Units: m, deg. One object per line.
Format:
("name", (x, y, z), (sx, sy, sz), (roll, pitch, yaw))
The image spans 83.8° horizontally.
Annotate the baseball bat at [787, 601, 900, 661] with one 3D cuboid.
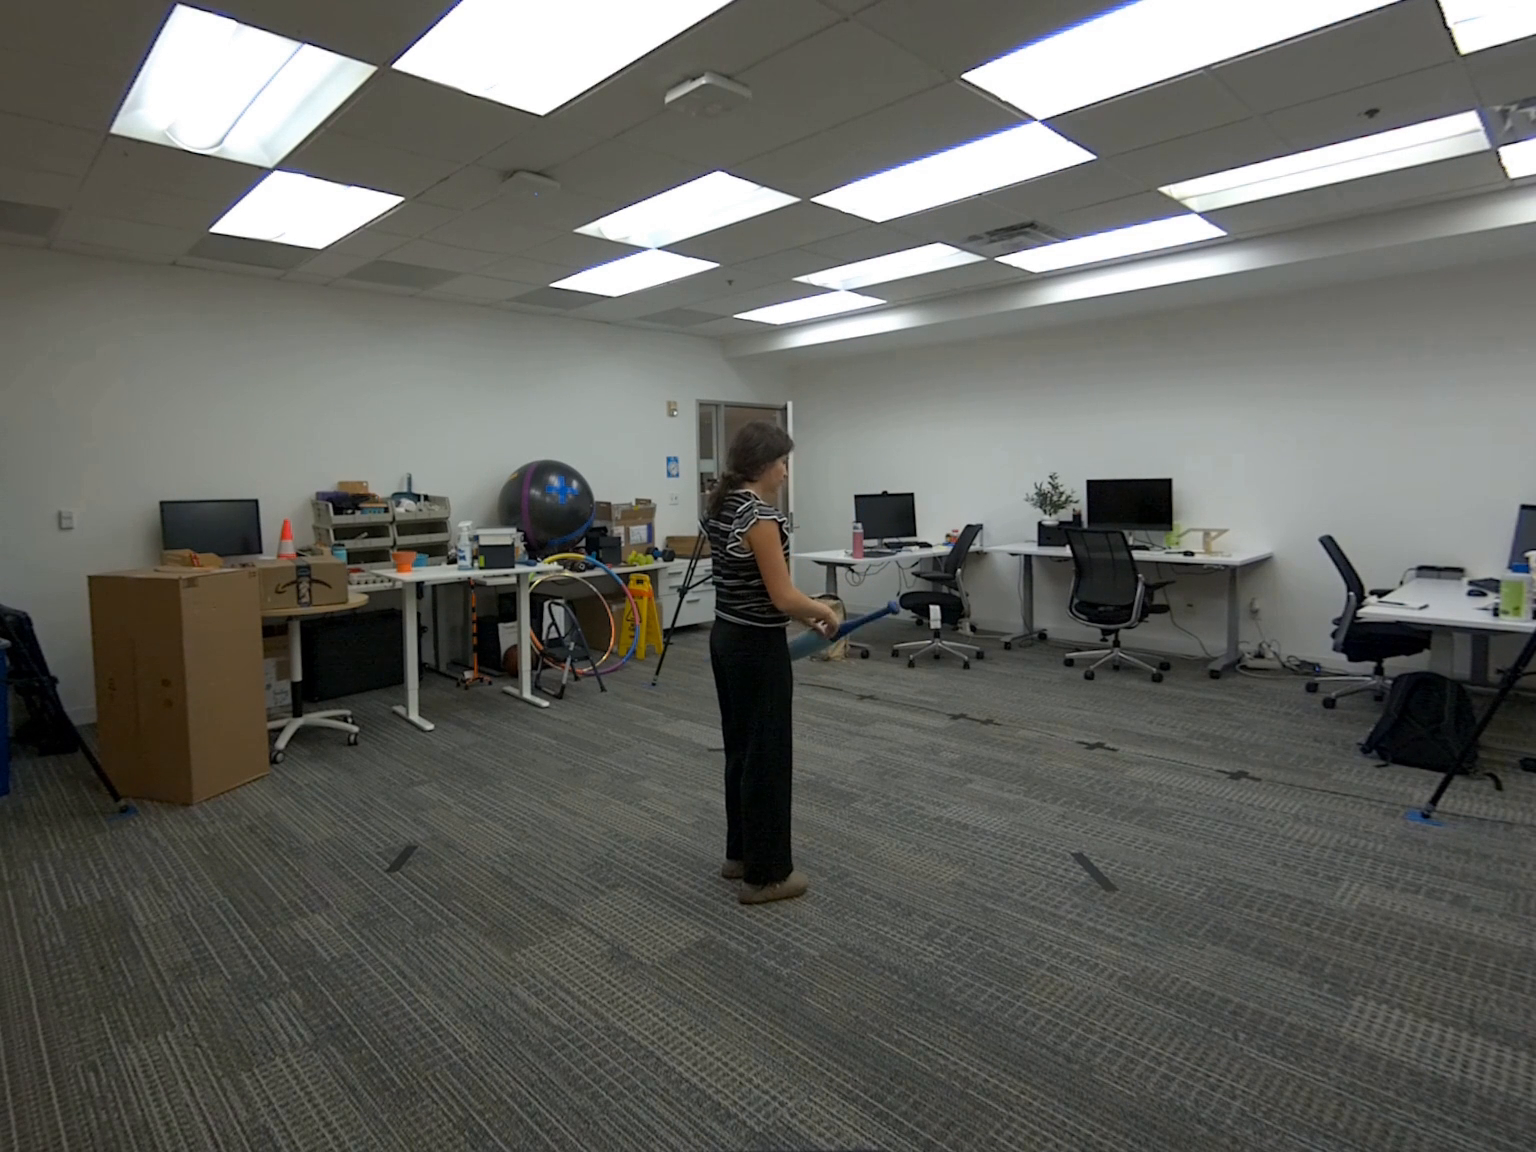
("baseball bat", (0.243, 0.198, 2.997), (0.550, 0.090, 0.087), (-26, -13, 41))
